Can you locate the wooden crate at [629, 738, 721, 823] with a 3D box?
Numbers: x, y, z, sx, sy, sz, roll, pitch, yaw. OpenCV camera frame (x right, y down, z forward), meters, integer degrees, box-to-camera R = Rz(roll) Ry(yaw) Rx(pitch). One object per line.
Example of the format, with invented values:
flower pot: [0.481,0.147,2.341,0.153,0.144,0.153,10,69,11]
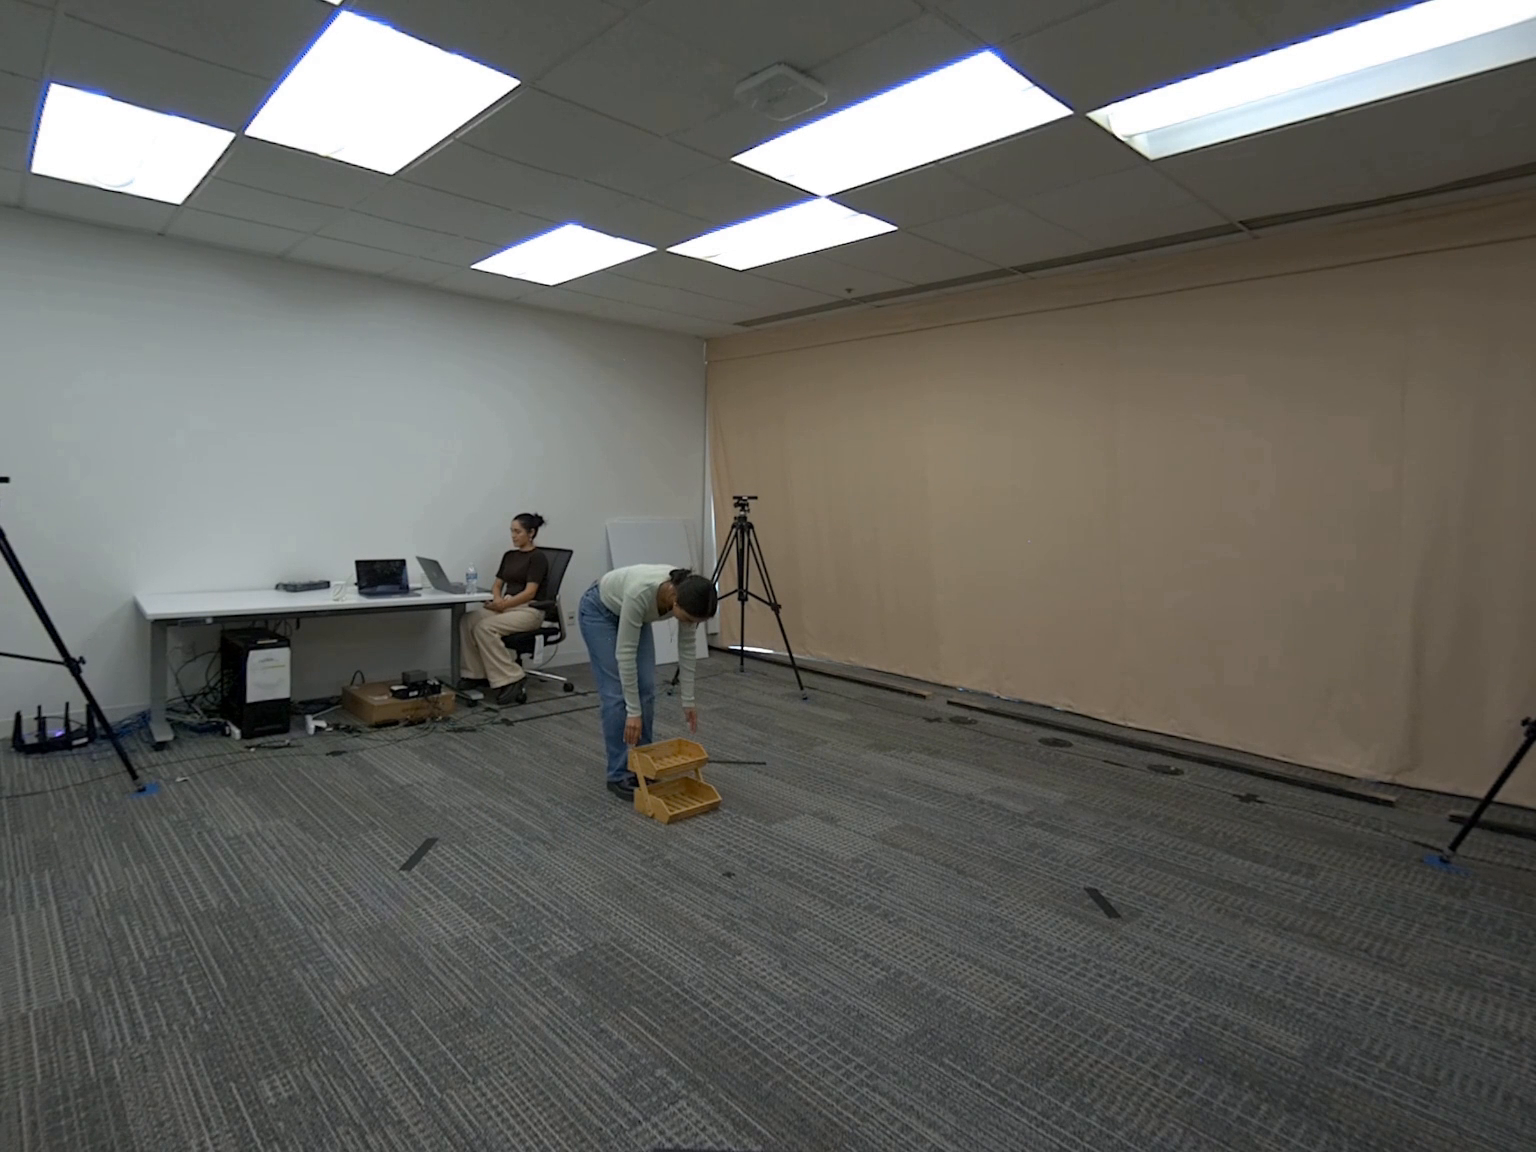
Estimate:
wooden crate: [-0.426,0.903,3.763,0.317,0.273,0.309,-3,5,-45]
